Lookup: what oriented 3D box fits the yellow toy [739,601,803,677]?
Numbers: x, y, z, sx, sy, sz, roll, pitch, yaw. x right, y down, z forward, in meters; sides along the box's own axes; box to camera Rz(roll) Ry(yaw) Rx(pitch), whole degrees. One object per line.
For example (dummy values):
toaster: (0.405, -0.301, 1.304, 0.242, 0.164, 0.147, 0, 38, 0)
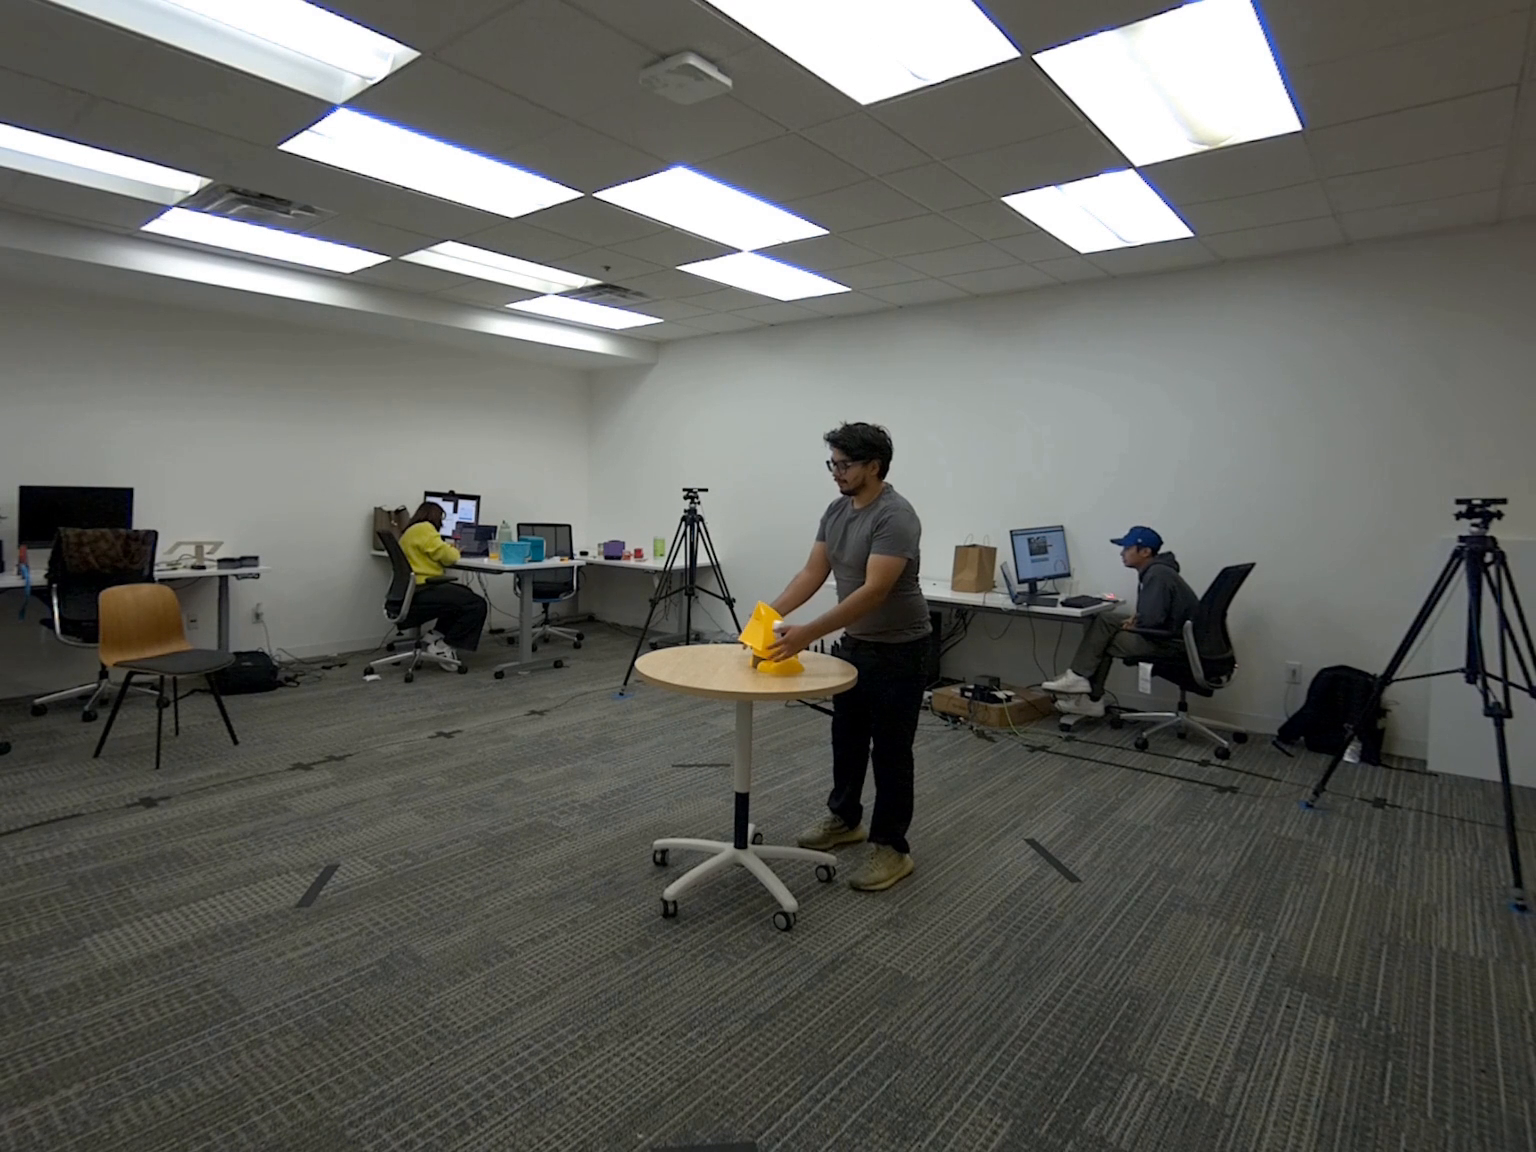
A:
yellow toy: (0.006, 0.198, 2.924, 0.189, 0.230, 0.210, -1, 6, -22)
